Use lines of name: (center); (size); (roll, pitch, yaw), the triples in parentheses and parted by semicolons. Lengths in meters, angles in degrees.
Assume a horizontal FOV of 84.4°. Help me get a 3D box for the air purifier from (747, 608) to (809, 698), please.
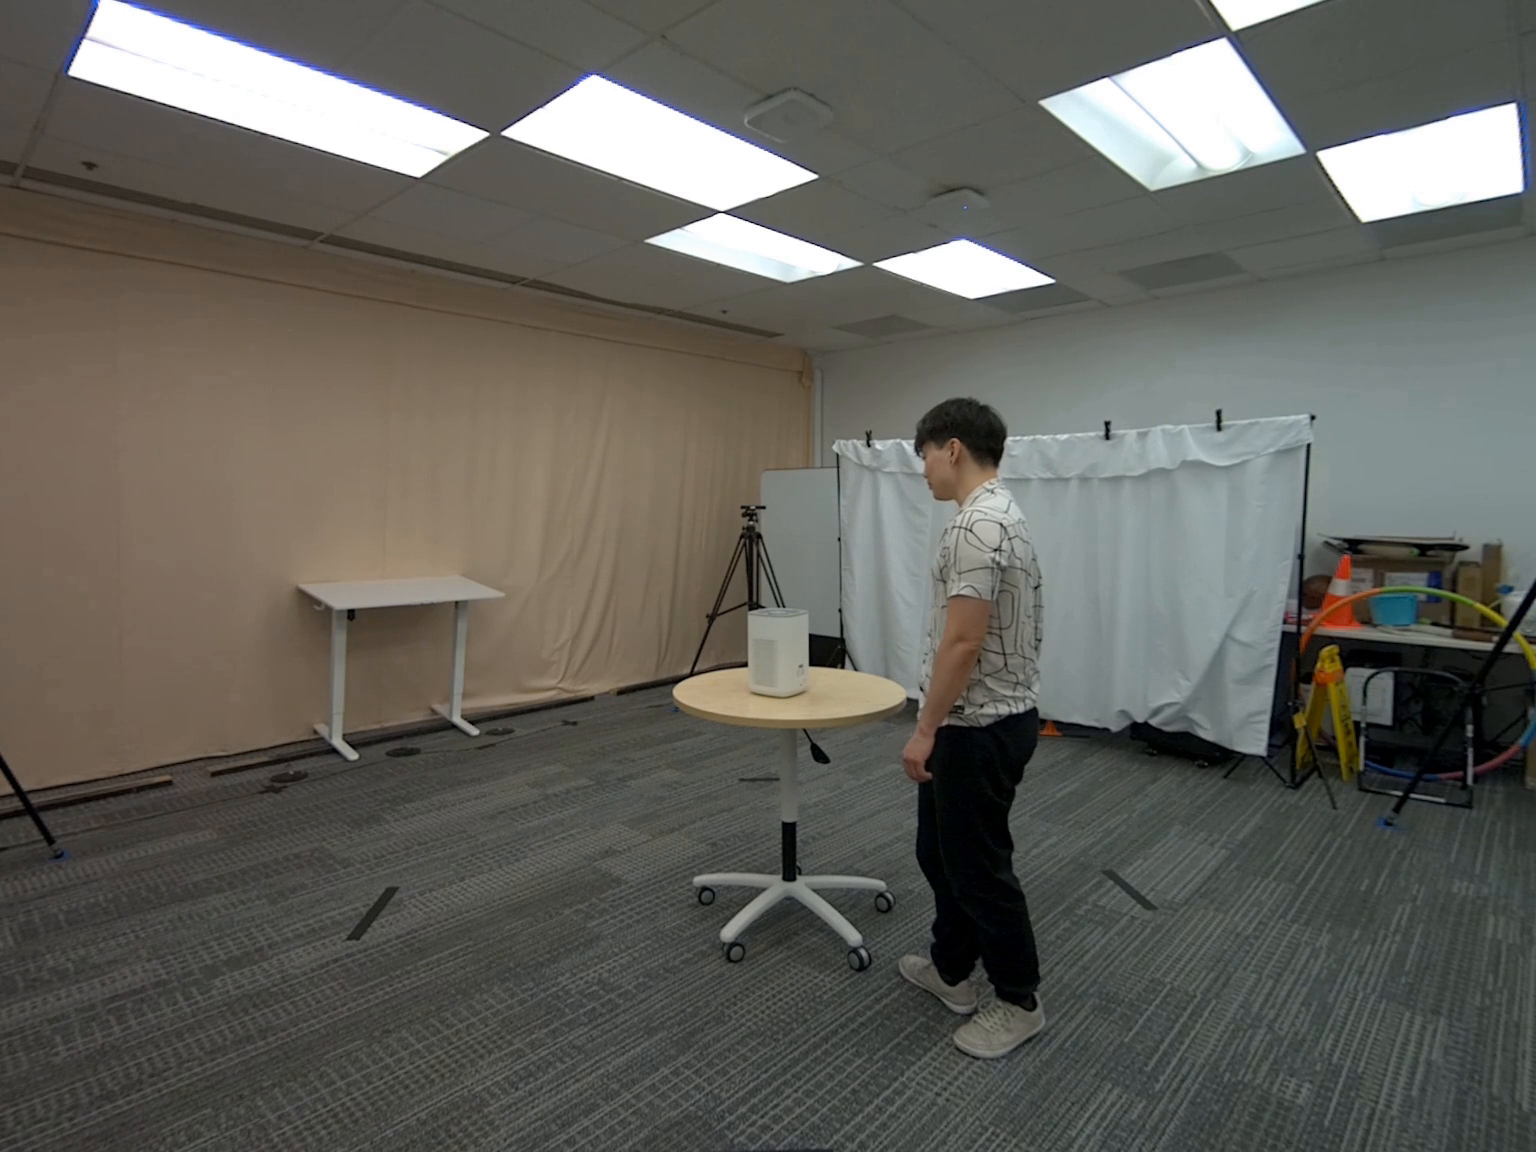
air purifier: (0.038, 0.248, 2.740); (0.177, 0.265, 0.166); (2, 4, 34)
